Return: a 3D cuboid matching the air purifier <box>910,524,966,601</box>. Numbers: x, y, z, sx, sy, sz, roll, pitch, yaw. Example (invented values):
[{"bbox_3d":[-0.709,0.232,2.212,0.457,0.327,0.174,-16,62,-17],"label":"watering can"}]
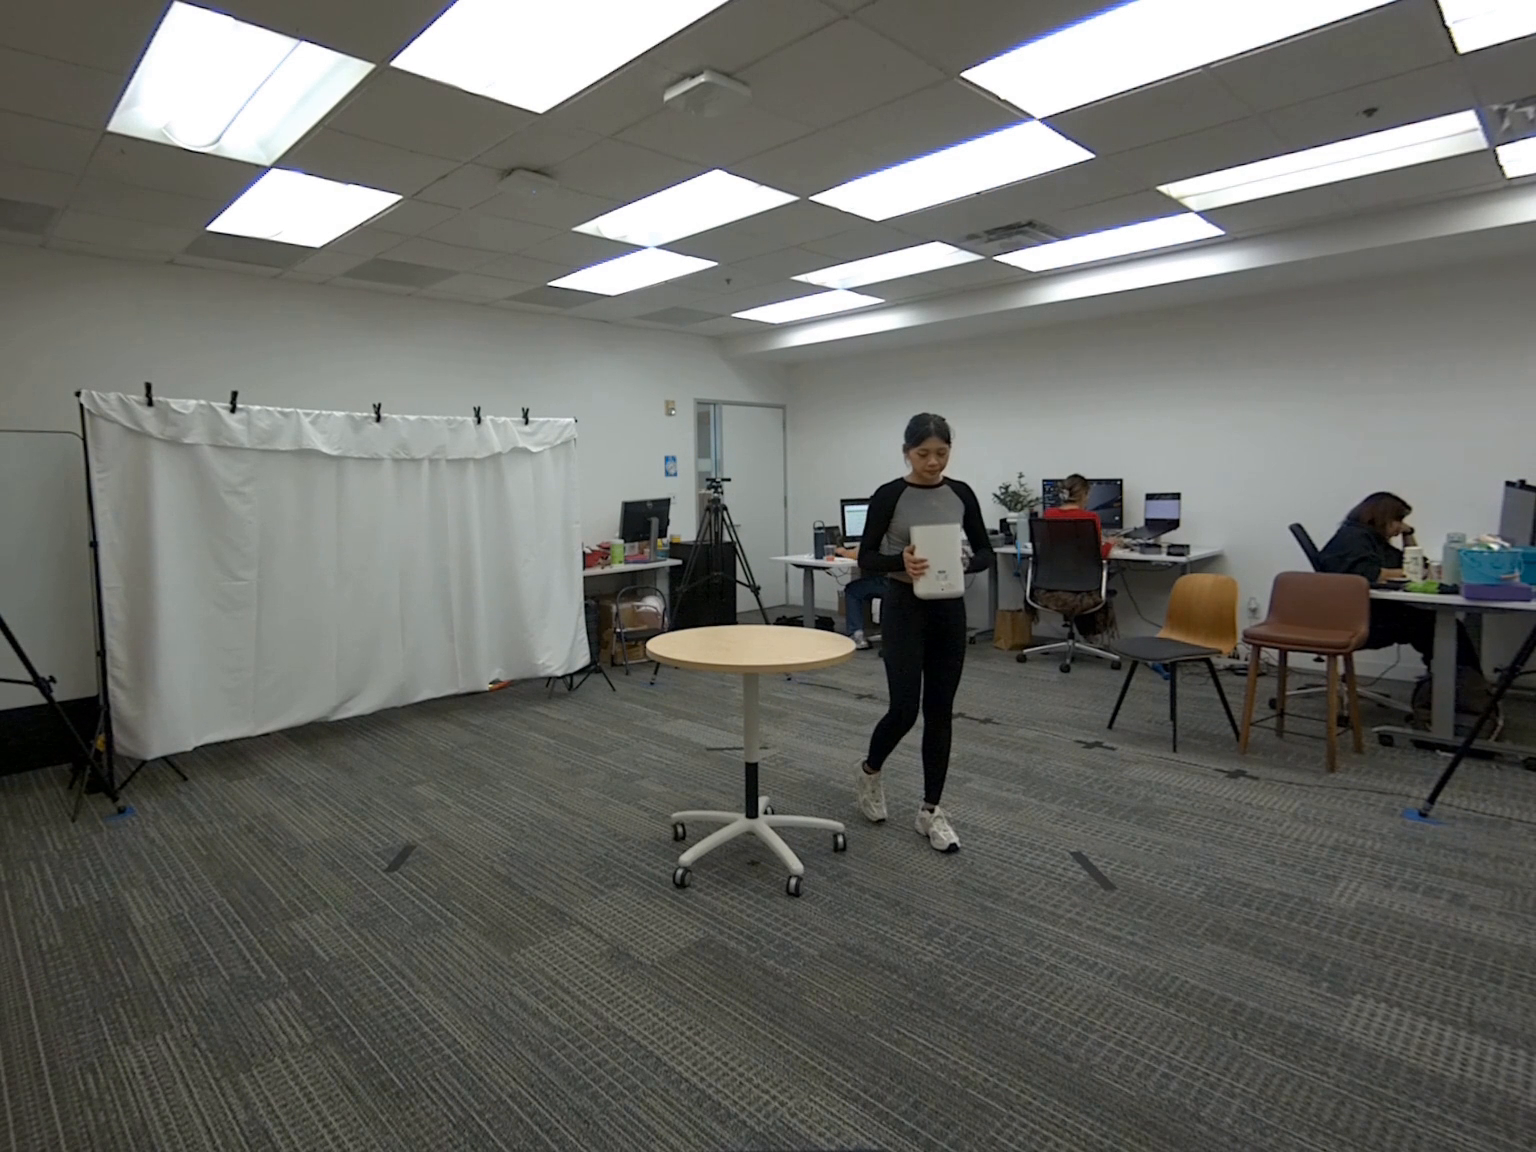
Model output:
[{"bbox_3d":[0.604,-0.051,3.082,0.172,0.265,0.170,-5,0,8],"label":"air purifier"}]
